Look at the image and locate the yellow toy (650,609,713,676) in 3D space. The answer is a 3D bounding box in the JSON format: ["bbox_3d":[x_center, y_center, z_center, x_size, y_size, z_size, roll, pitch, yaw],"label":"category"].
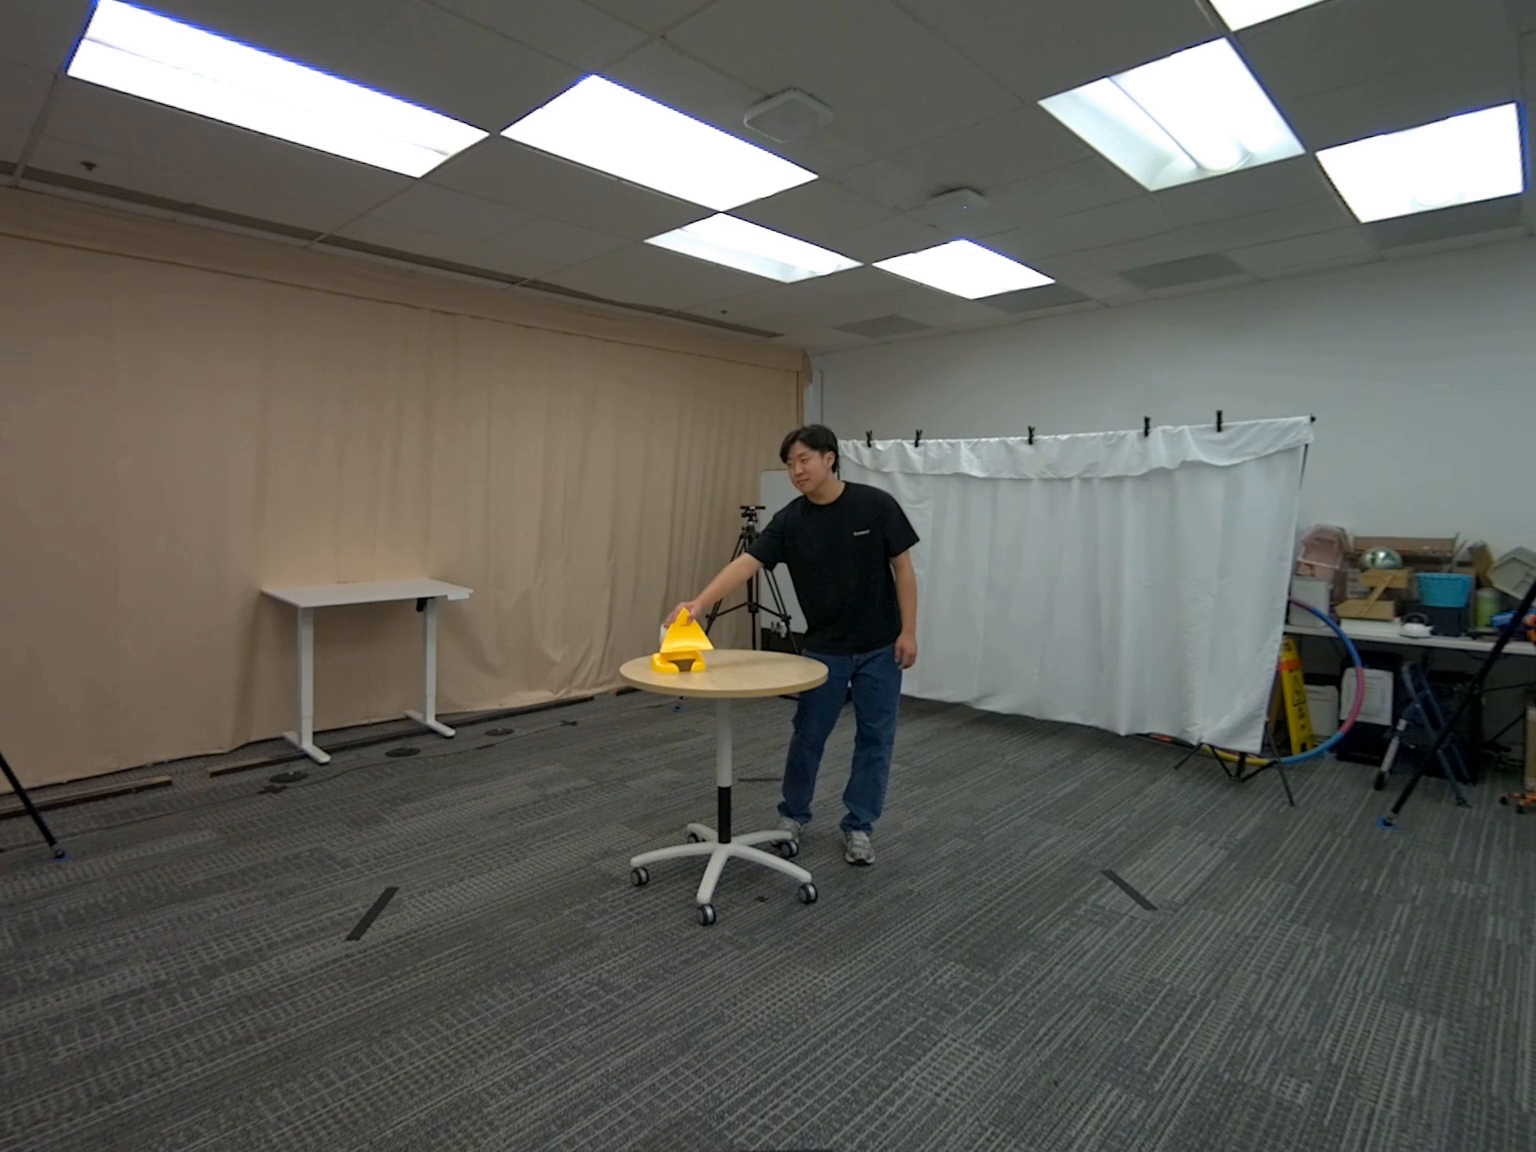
[{"bbox_3d":[-0.326,0.226,3.089,0.200,0.230,0.198,-2,5,-25],"label":"yellow toy"}]
